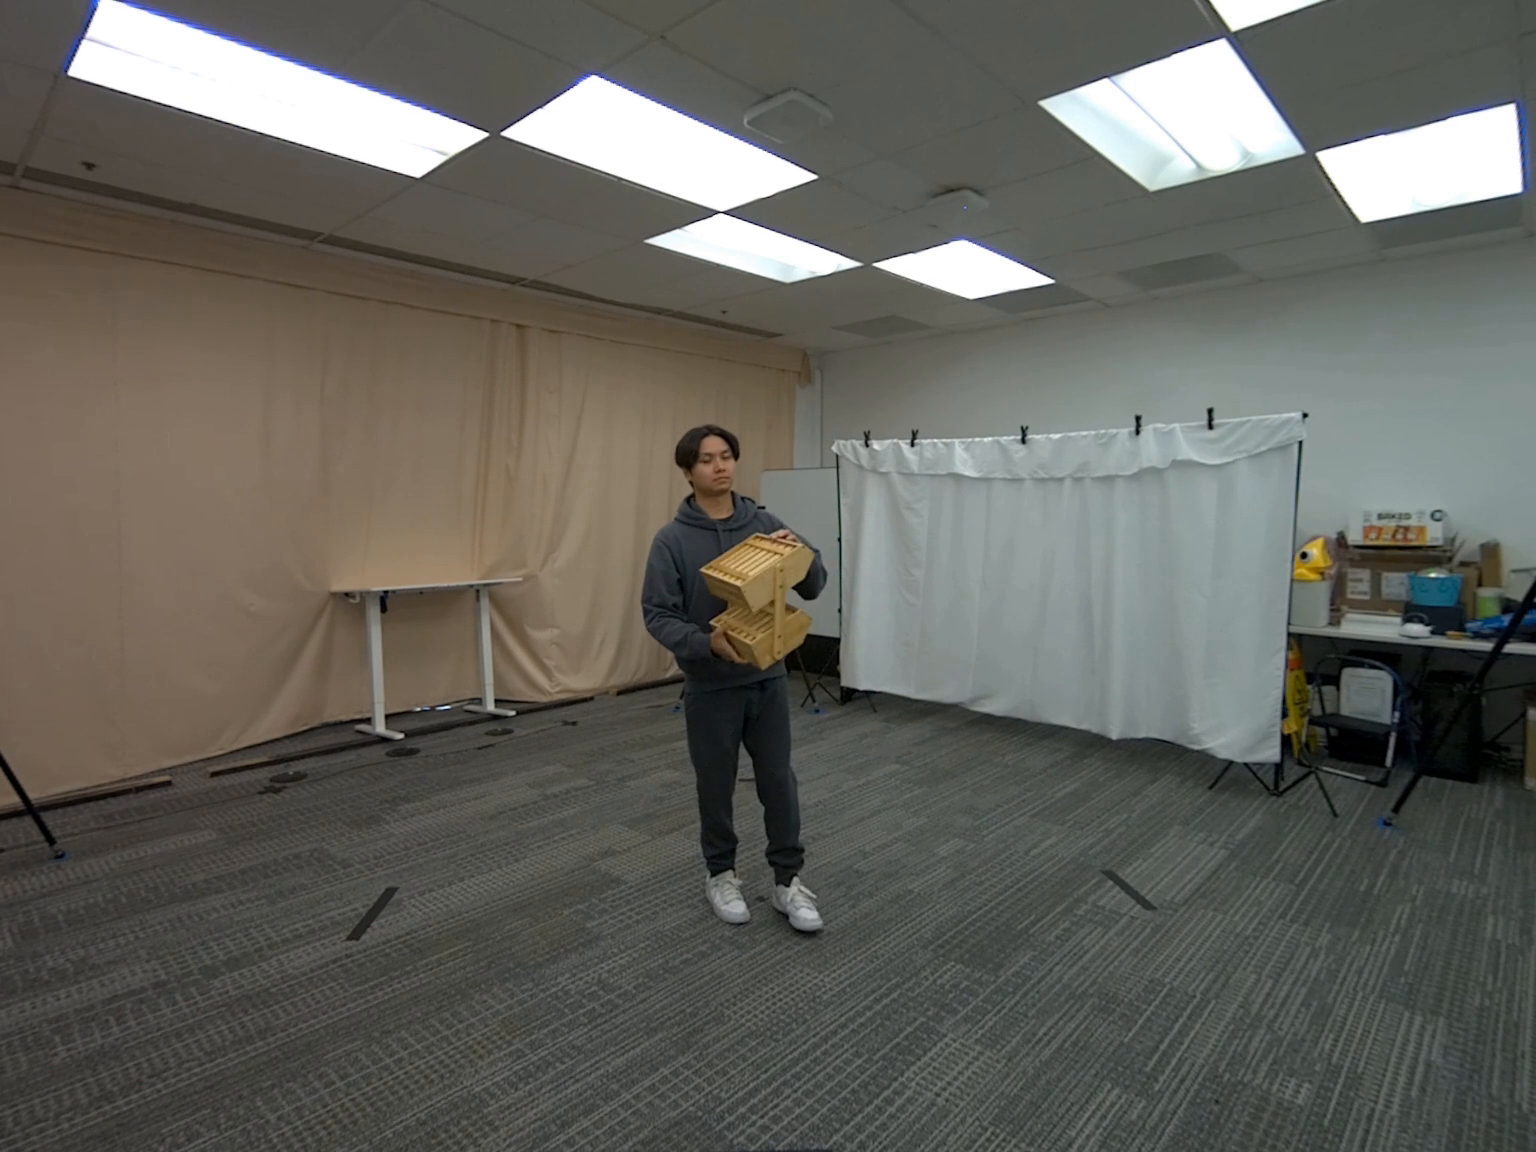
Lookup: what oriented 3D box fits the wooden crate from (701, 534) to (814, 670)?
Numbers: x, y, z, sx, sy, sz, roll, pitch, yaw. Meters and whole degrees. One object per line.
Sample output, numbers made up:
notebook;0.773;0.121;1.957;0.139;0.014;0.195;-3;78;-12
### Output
wooden crate;-0.010;0.065;2.570;0.299;0.268;0.333;-33;20;-16
